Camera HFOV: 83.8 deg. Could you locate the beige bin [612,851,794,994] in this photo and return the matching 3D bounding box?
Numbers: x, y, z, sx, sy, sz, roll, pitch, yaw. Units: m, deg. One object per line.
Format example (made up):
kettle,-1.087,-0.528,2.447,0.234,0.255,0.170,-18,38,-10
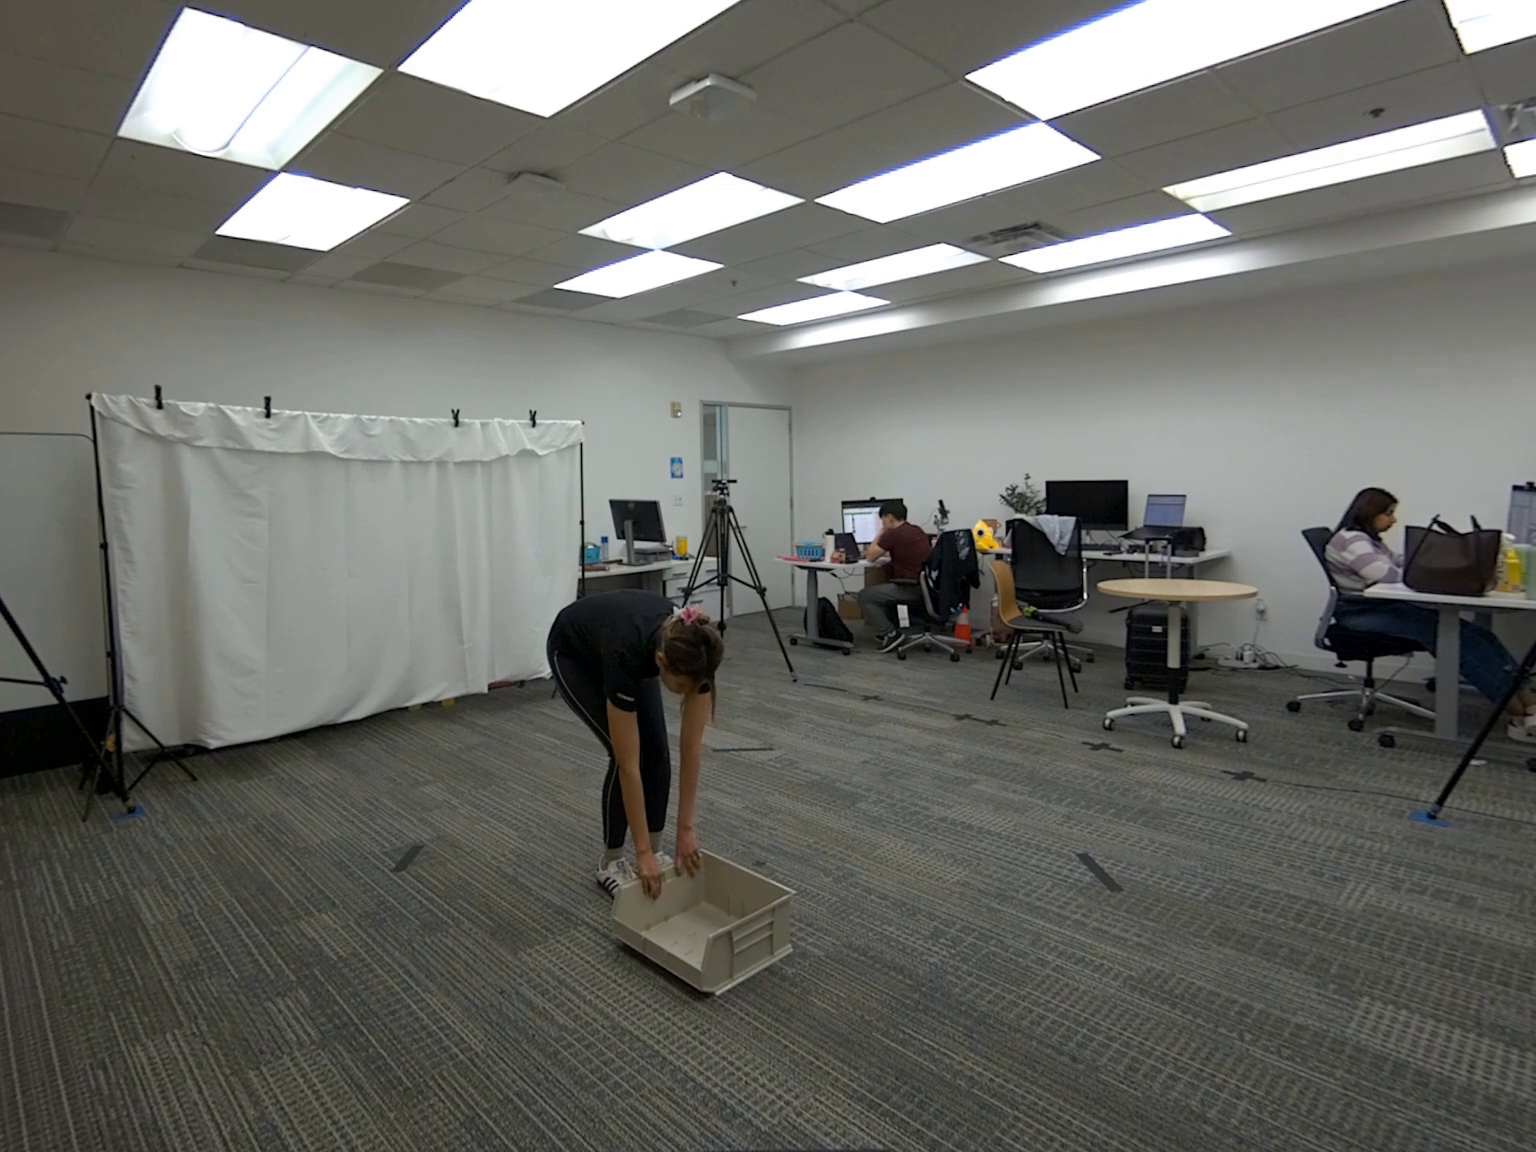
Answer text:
beige bin,-0.193,1.025,2.546,0.367,0.188,0.435,-4,6,-44
